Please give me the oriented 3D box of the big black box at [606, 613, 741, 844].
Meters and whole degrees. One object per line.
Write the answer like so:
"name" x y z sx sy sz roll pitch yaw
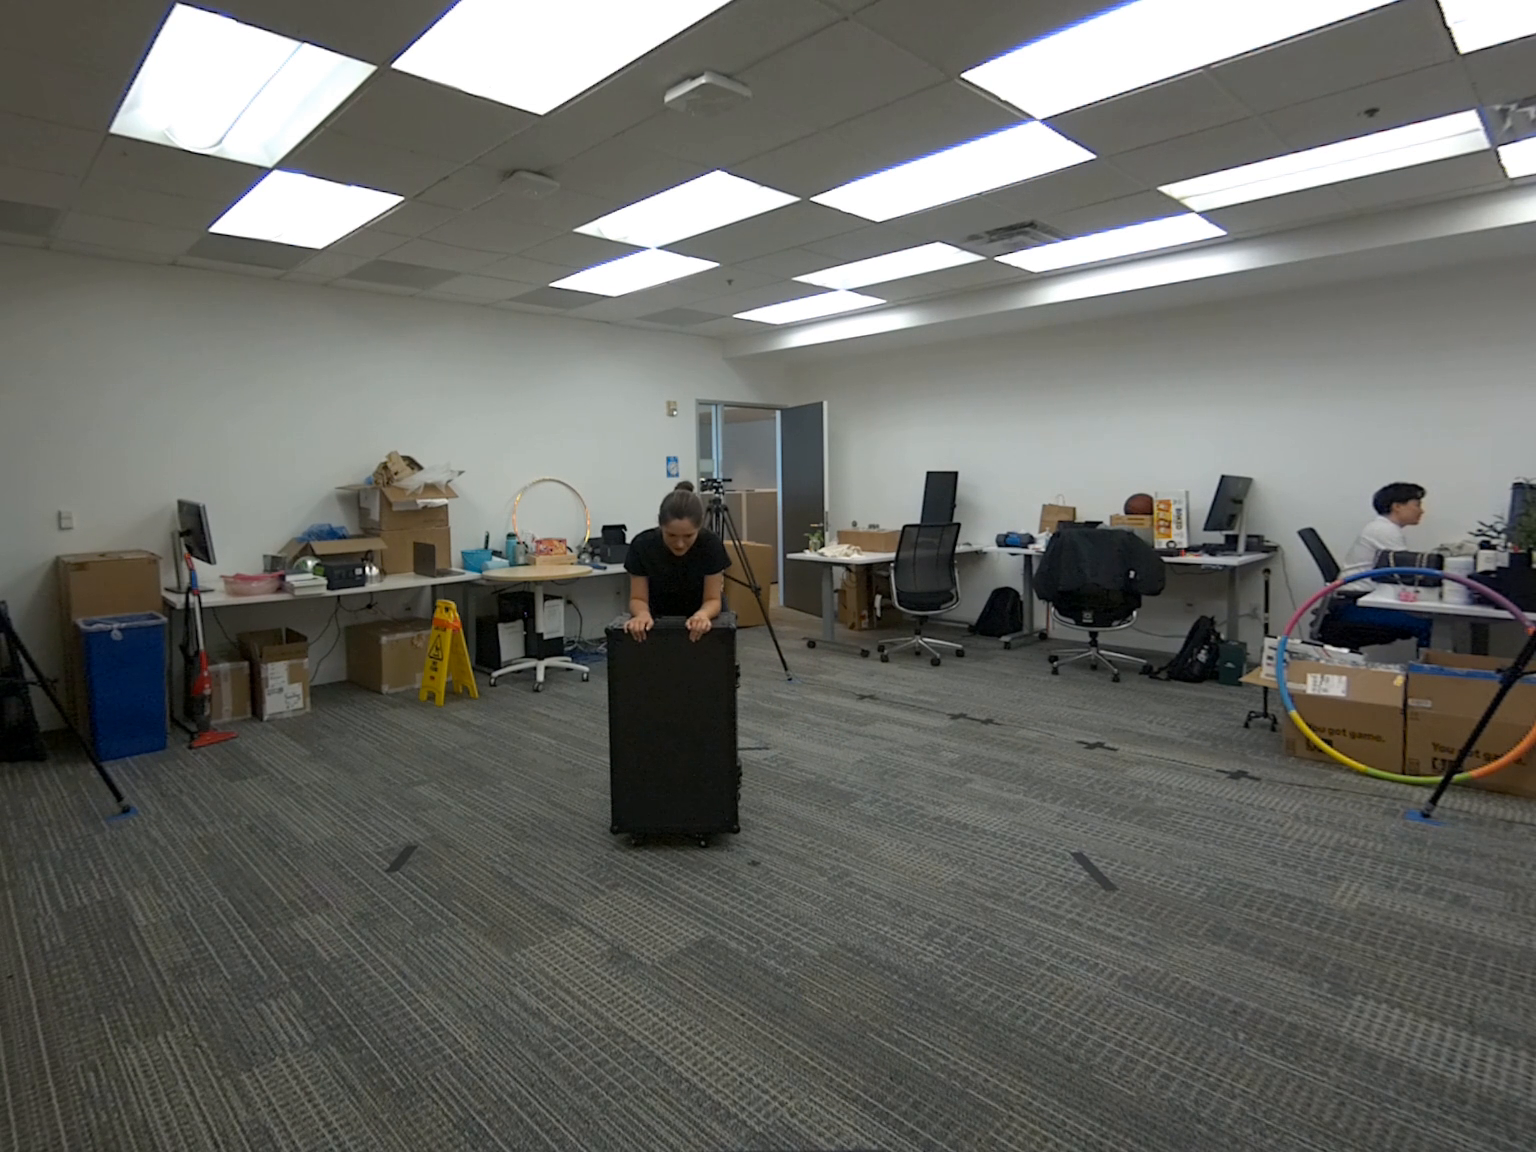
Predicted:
"big black box" -0.361 0.528 3.379 0.522 0.858 0.398 -1 5 0
